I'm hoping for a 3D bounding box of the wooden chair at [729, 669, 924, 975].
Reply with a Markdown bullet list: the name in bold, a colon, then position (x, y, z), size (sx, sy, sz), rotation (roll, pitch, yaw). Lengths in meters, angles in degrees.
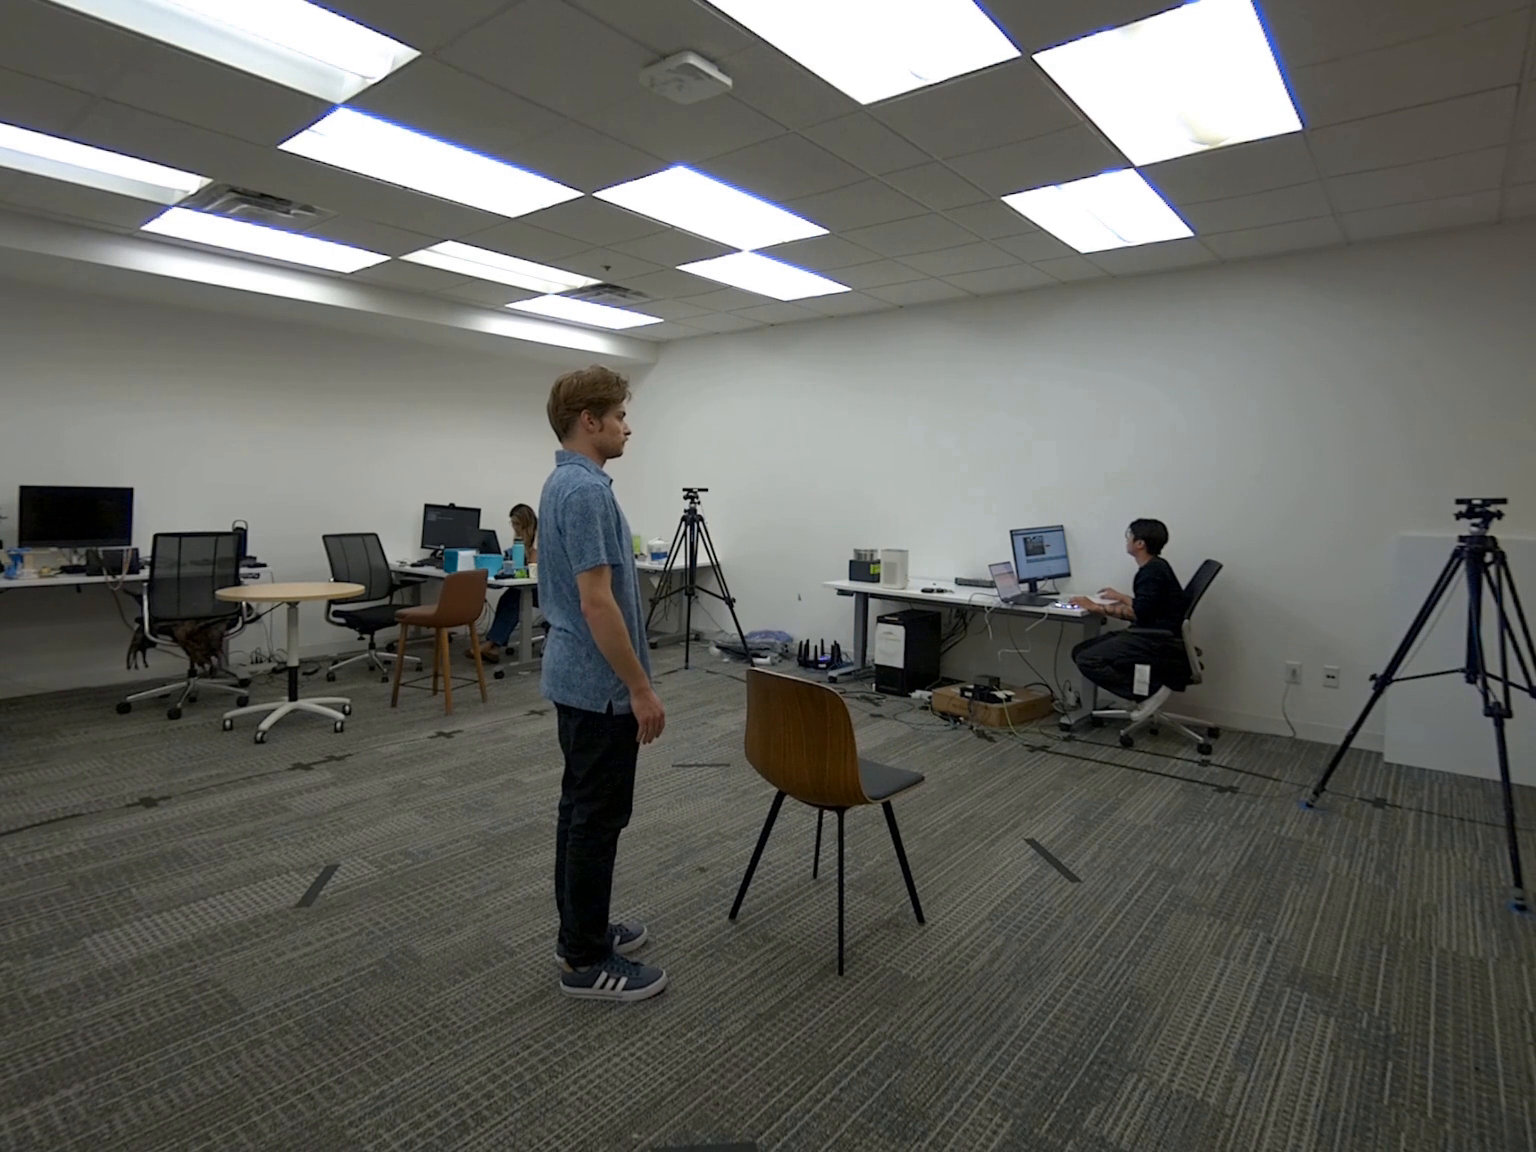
- **wooden chair**: position (0.196, 0.685, 2.735), size (0.494, 0.872, 0.509), rotation (4, 9, 42)
